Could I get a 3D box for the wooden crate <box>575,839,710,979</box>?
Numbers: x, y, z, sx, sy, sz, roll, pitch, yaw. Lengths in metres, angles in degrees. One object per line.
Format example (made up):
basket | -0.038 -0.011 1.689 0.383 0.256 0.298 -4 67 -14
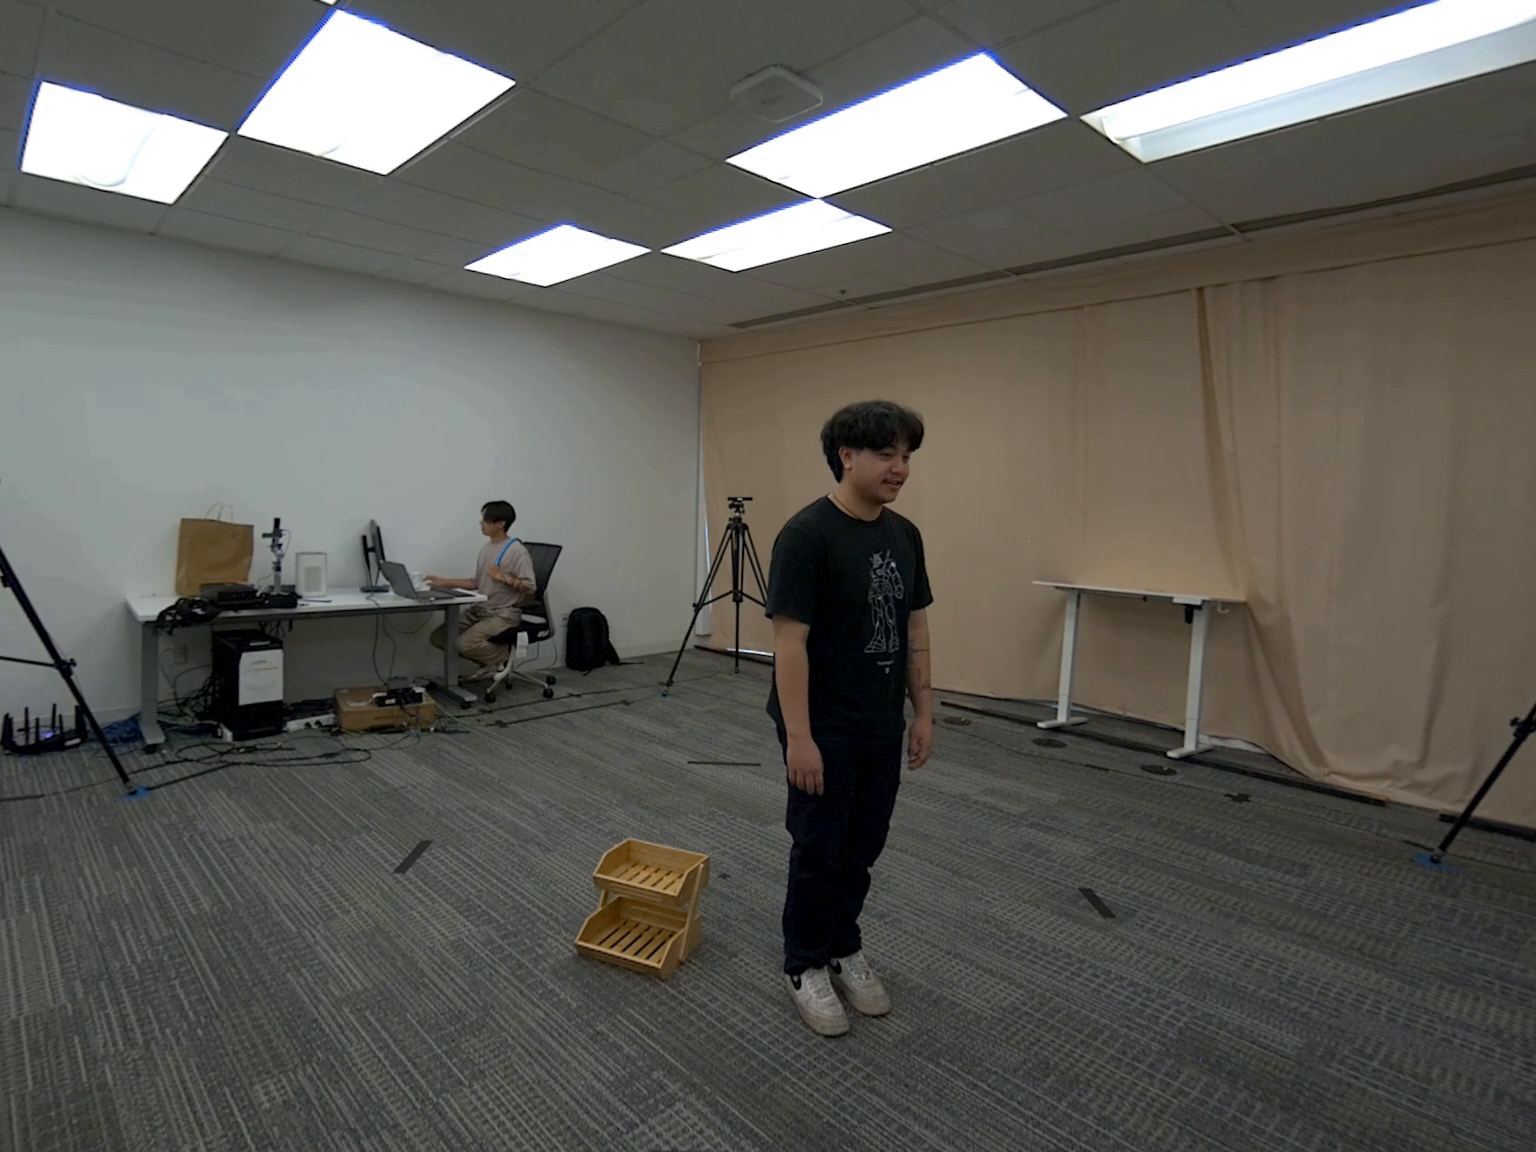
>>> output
wooden crate | -0.393 1.018 2.590 0.330 0.273 0.297 3 4 24
